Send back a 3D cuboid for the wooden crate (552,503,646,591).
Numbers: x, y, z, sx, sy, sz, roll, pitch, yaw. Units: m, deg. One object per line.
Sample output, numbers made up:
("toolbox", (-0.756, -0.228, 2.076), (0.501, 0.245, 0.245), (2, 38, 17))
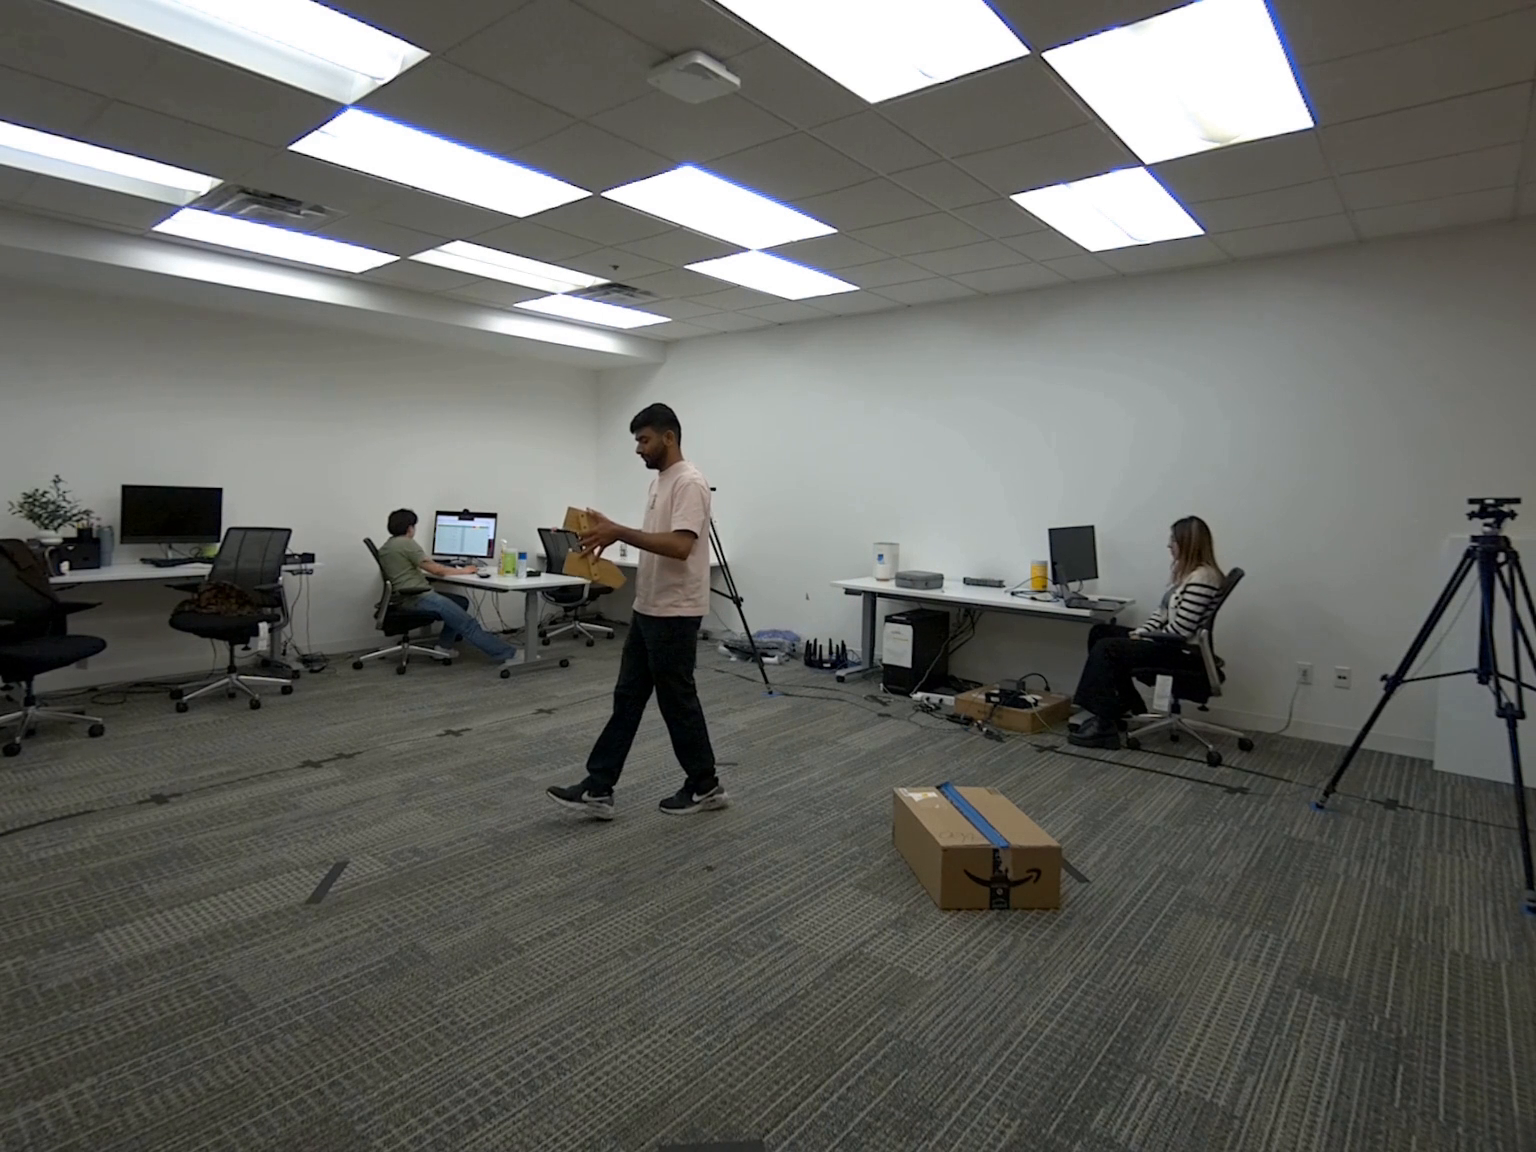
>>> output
("wooden crate", (-0.712, -0.125, 3.506), (0.298, 0.274, 0.329), (16, -2, -12))
